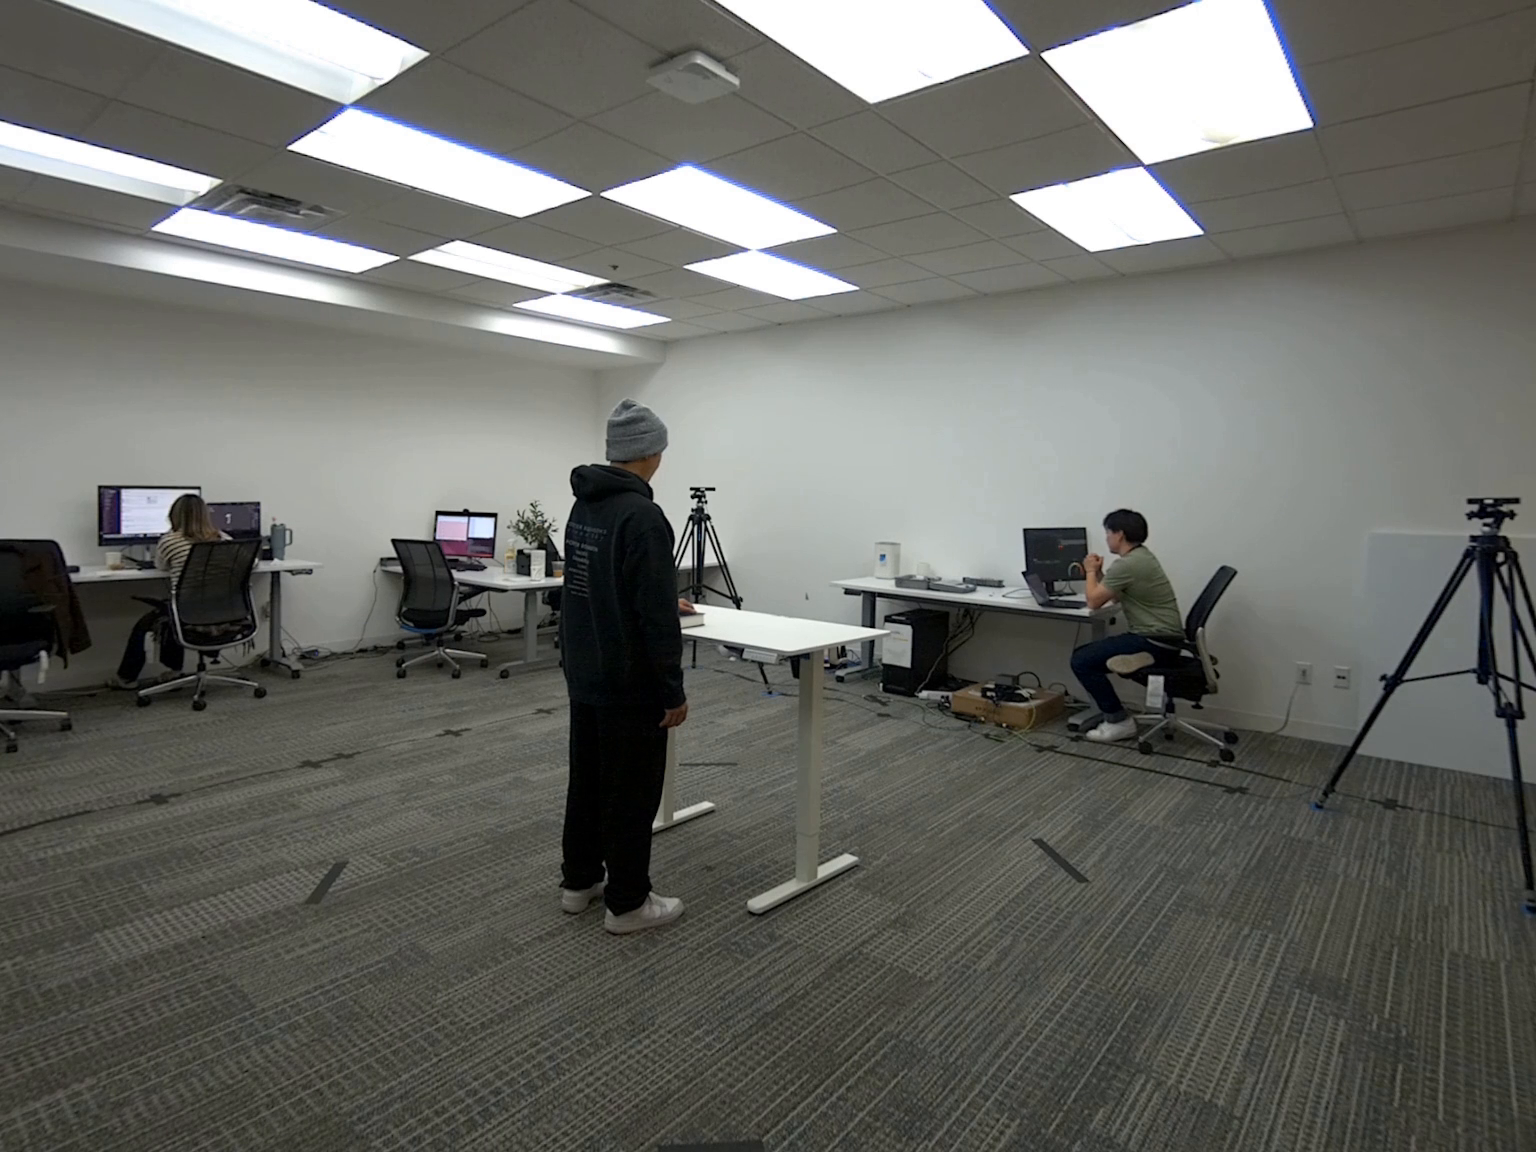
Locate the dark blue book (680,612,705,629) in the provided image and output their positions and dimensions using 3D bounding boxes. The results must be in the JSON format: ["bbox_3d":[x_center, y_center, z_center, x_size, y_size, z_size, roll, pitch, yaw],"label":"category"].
[{"bbox_3d":[-0.394,0.164,3.092,0.169,0.045,0.238,5,6,39],"label":"dark blue book"}]
